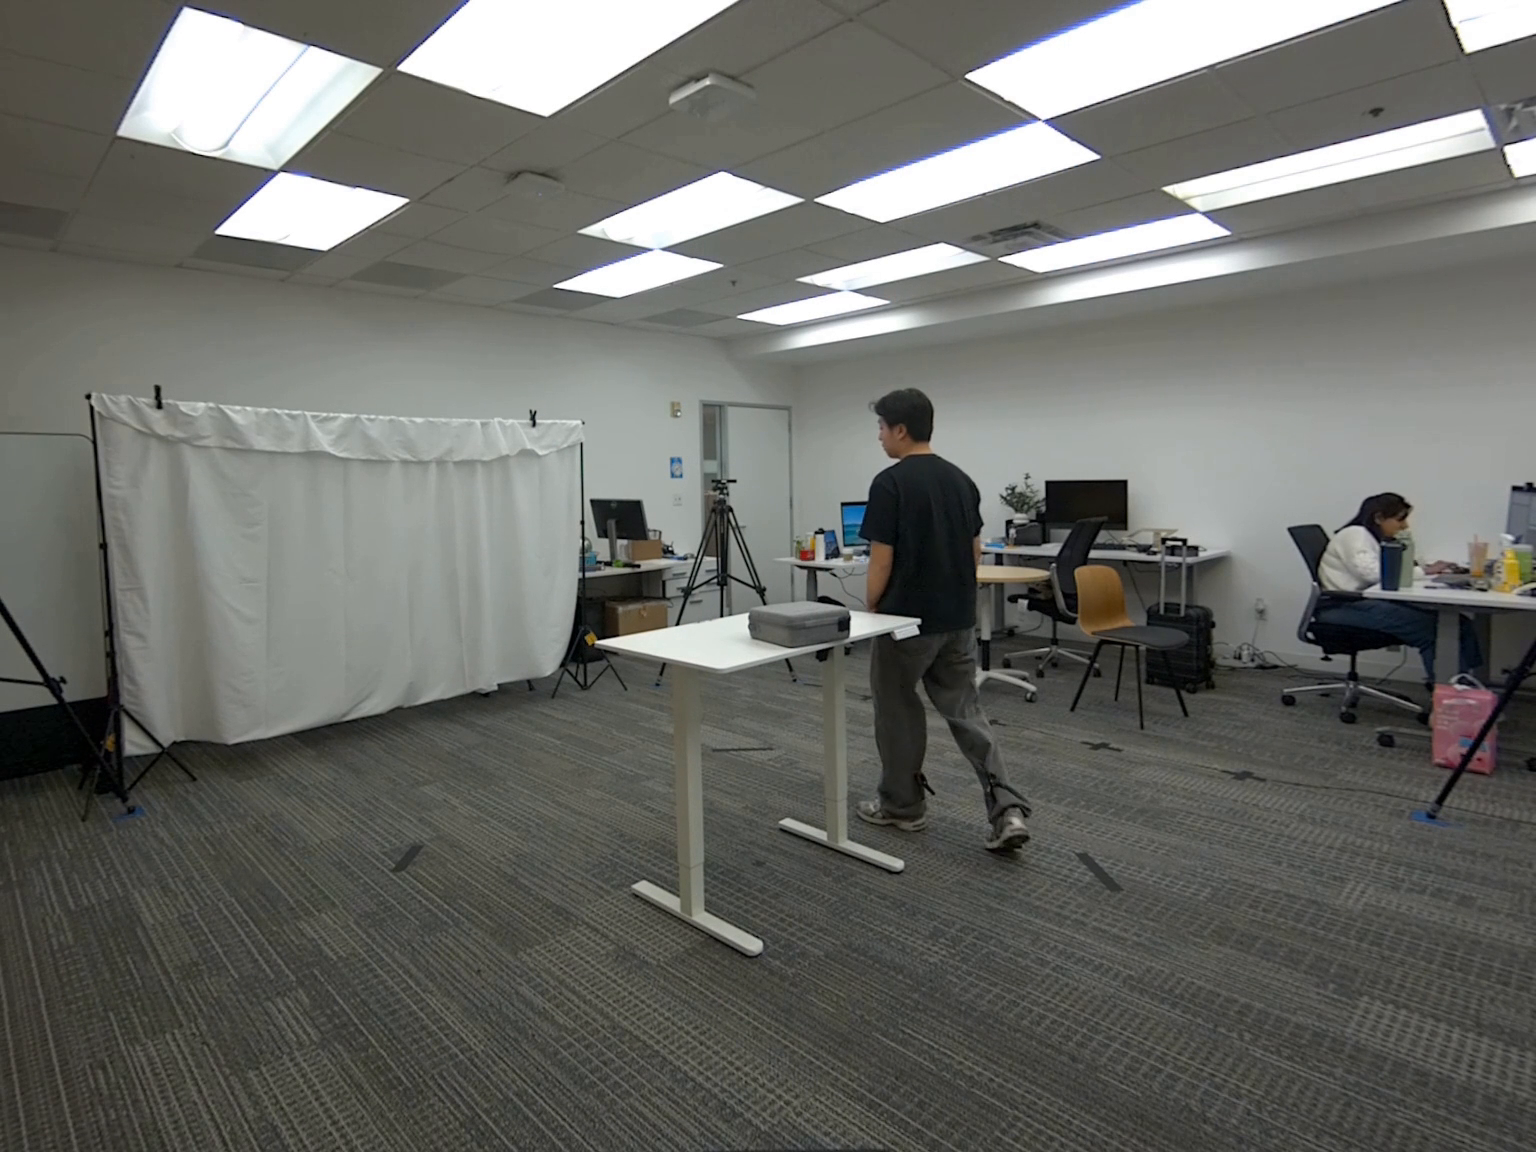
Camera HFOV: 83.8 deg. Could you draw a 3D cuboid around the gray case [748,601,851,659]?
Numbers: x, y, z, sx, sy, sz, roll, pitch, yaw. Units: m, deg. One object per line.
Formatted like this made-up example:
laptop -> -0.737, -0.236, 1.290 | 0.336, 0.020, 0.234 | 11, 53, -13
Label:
gray case -> 0.099, 0.149, 2.750 | 0.251, 0.104, 0.268 | -6, 7, -32
